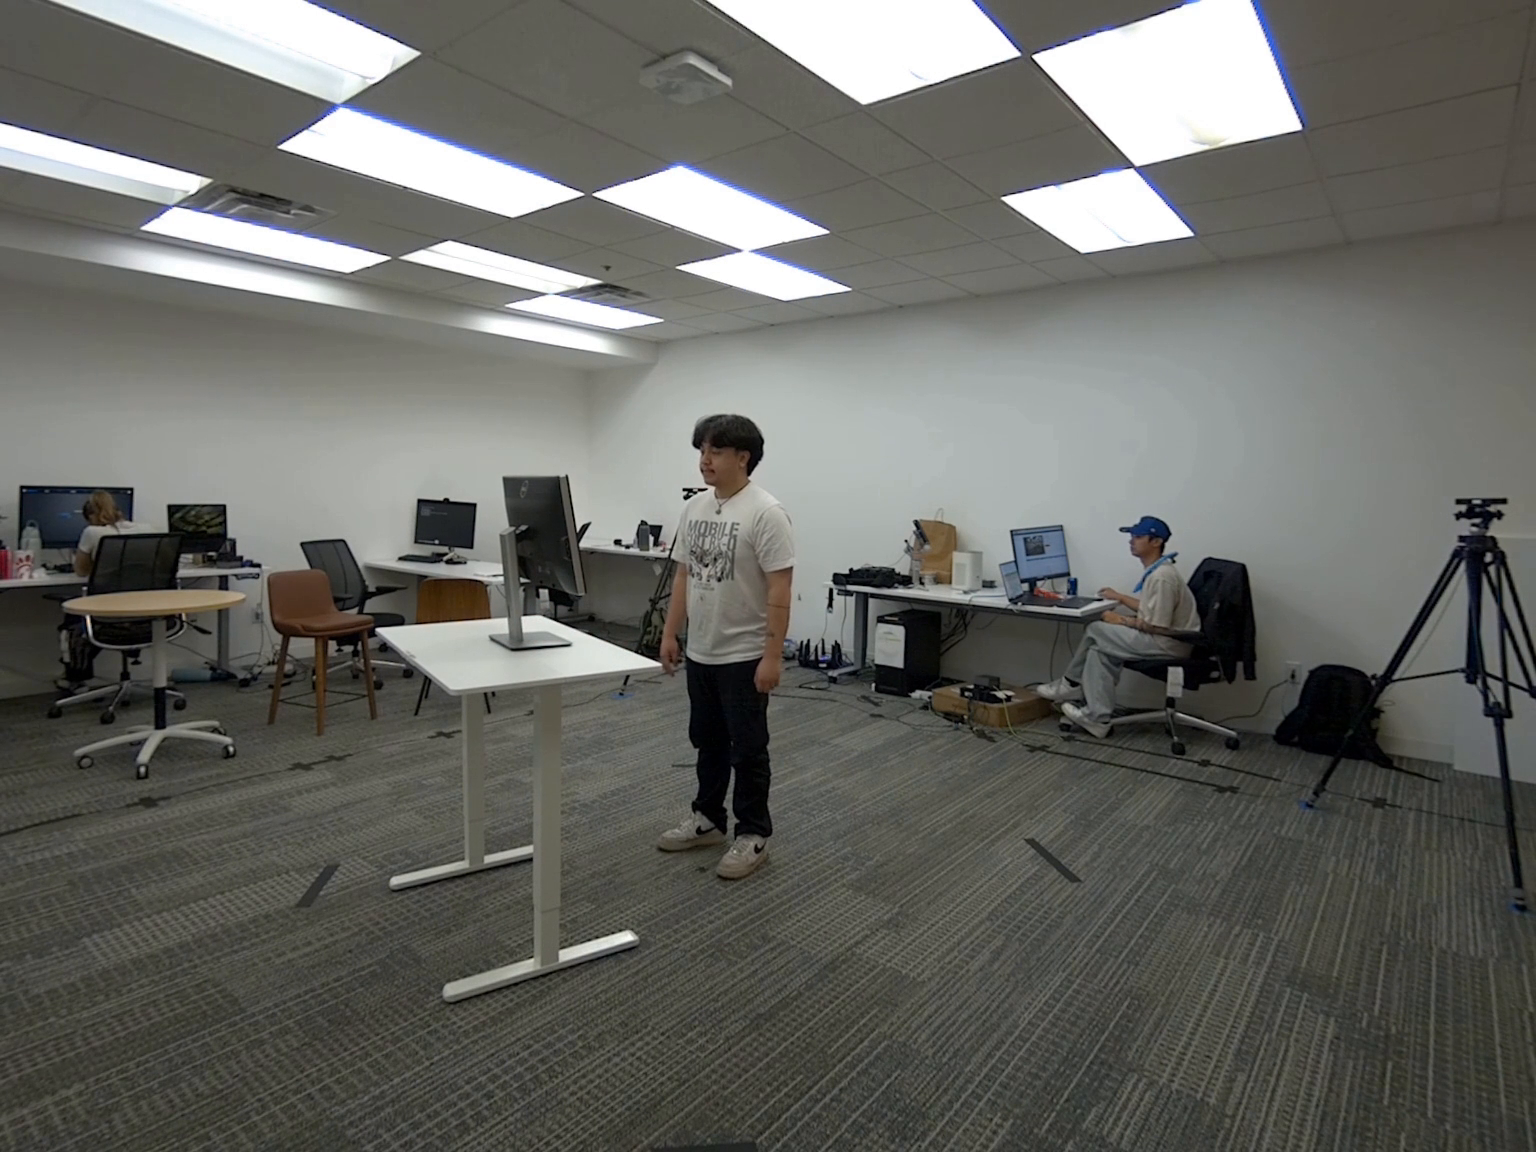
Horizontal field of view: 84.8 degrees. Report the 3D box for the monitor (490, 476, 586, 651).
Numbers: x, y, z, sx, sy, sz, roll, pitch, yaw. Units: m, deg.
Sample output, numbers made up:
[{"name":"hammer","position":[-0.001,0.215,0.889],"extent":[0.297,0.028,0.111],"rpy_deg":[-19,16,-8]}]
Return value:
[{"name":"monitor","position":[-0.796,-0.048,2.715],"extent":[0.205,0.550,0.584],"rpy_deg":[-7,8,-34]}]
